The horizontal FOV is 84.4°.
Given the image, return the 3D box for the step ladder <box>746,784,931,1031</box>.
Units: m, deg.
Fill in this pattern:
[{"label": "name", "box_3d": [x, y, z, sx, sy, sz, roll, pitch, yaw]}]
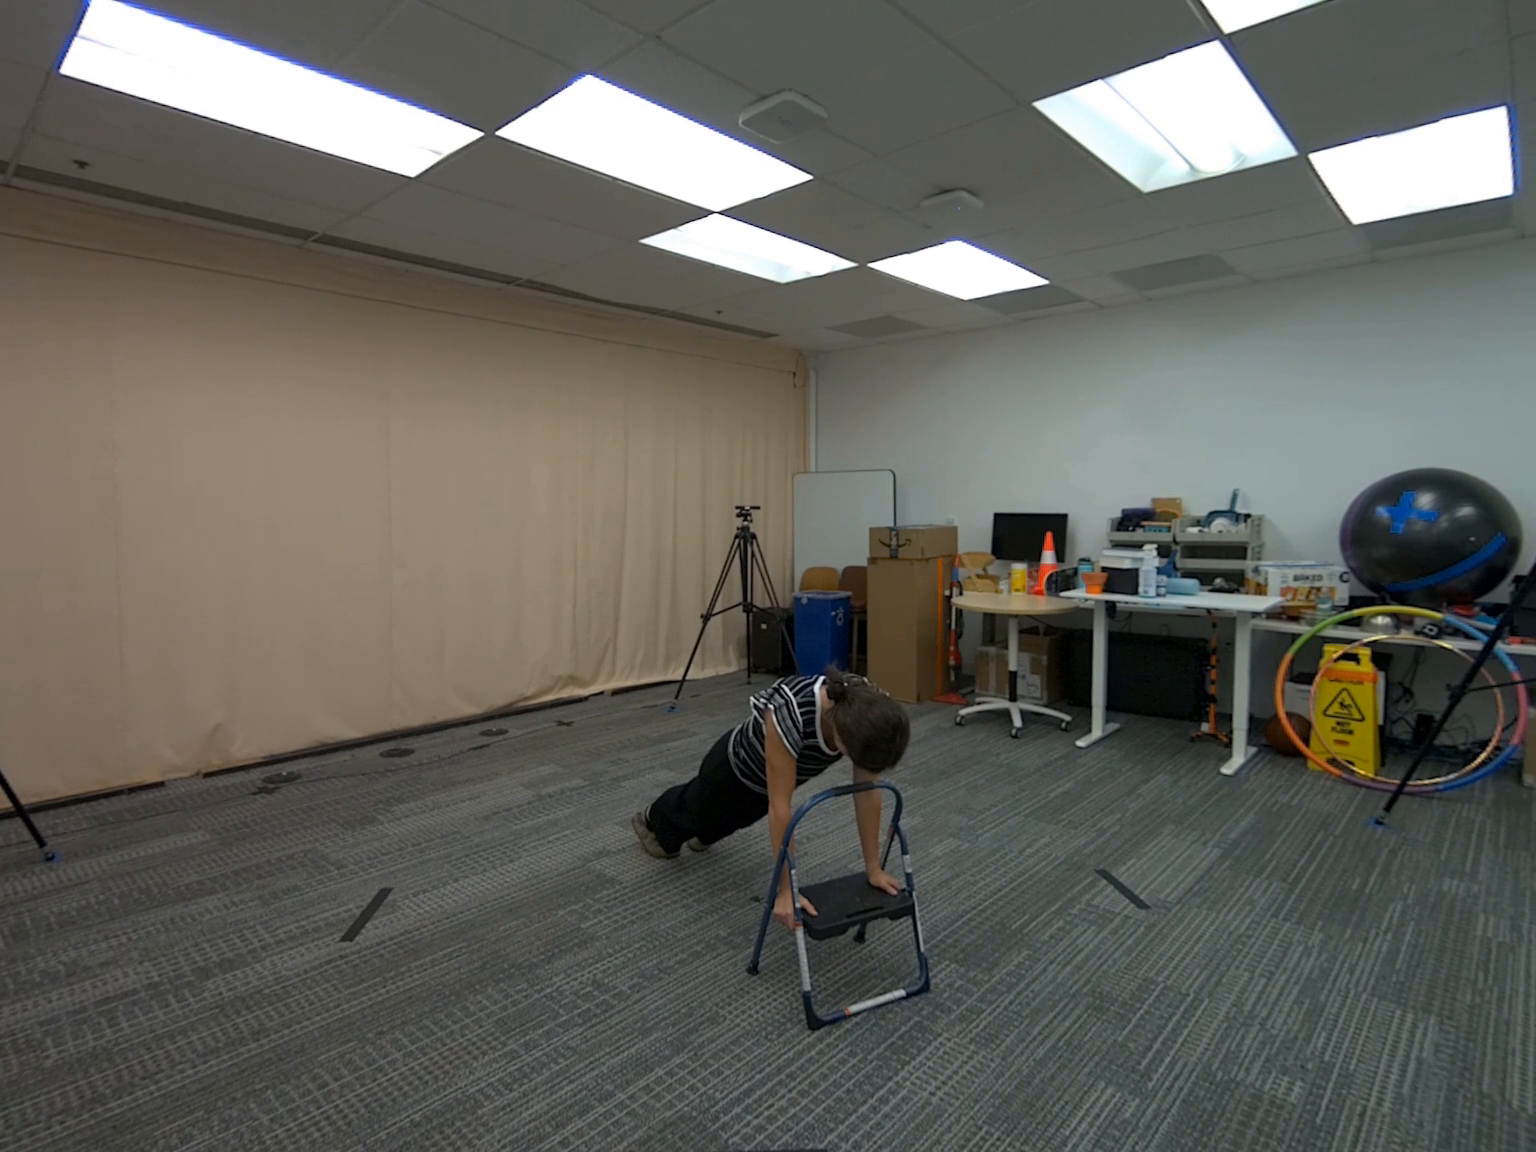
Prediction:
[{"label": "step ladder", "box_3d": [0.211, 0.888, 2.454, 0.419, 0.604, 0.359, -2, 5, -30]}]
